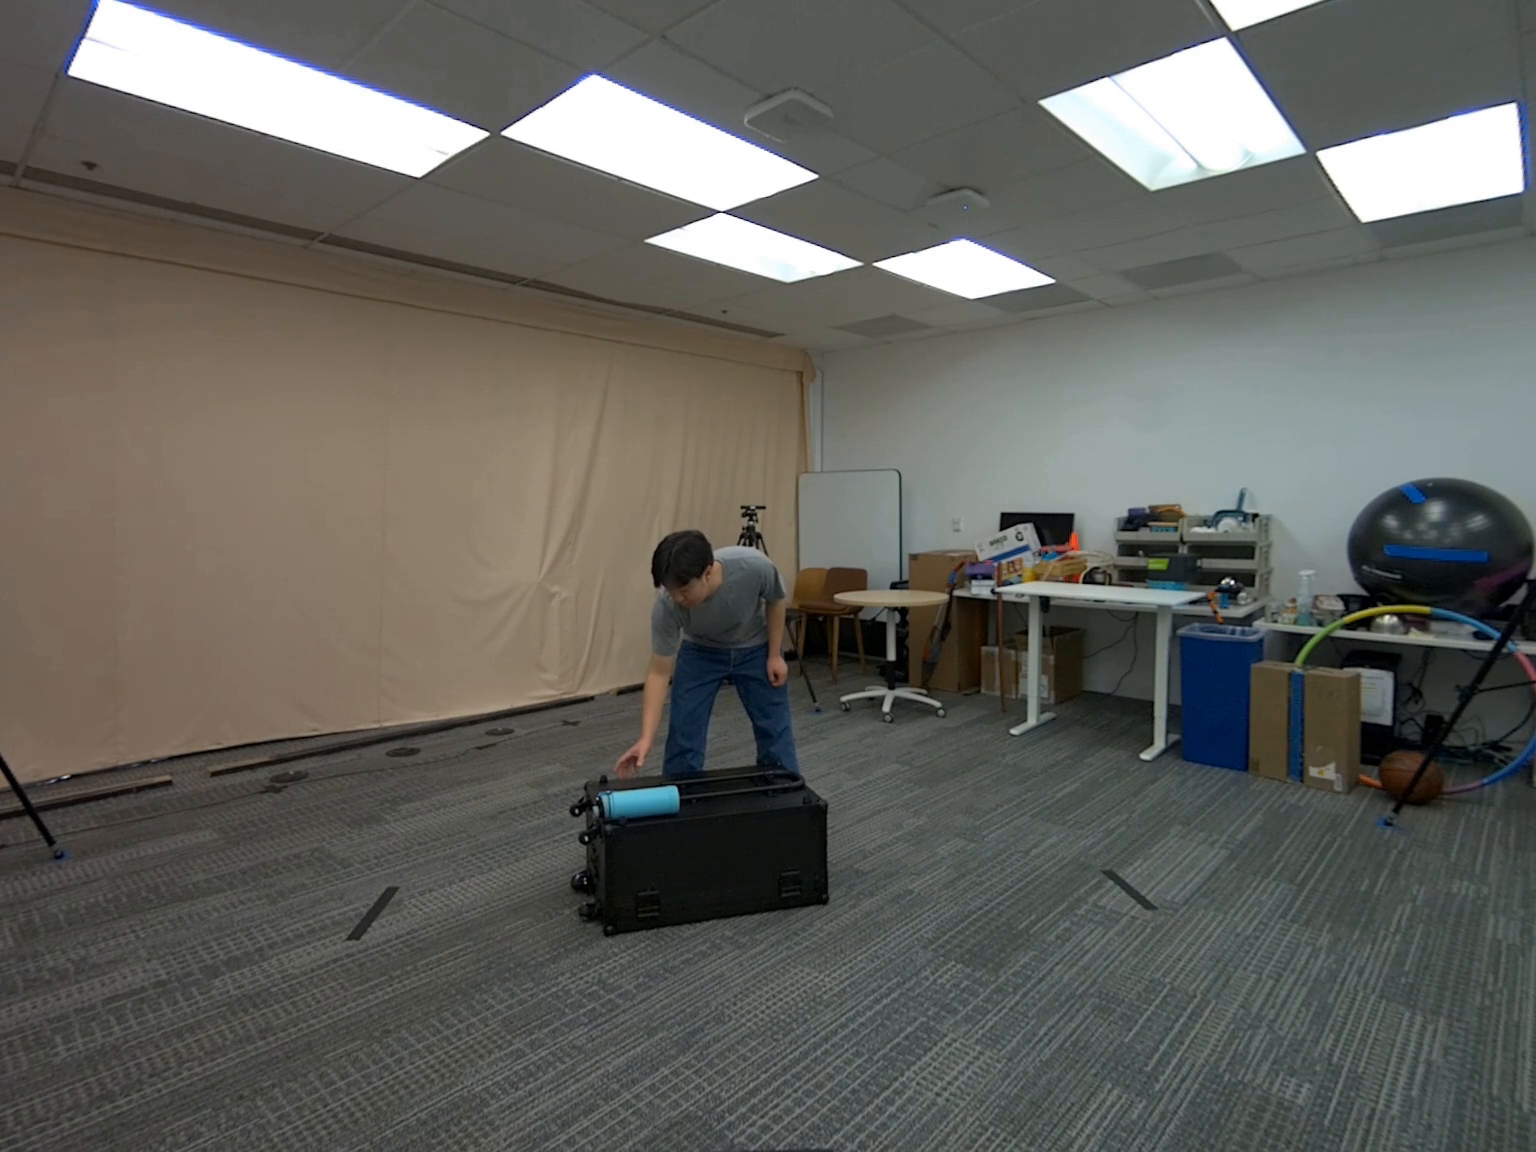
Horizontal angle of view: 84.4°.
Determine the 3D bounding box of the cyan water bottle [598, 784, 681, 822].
[{"bbox_3d":[-0.443,0.755,2.807,0.279,0.092,0.094,-2,4,-15],"label":"cyan water bottle"}]
